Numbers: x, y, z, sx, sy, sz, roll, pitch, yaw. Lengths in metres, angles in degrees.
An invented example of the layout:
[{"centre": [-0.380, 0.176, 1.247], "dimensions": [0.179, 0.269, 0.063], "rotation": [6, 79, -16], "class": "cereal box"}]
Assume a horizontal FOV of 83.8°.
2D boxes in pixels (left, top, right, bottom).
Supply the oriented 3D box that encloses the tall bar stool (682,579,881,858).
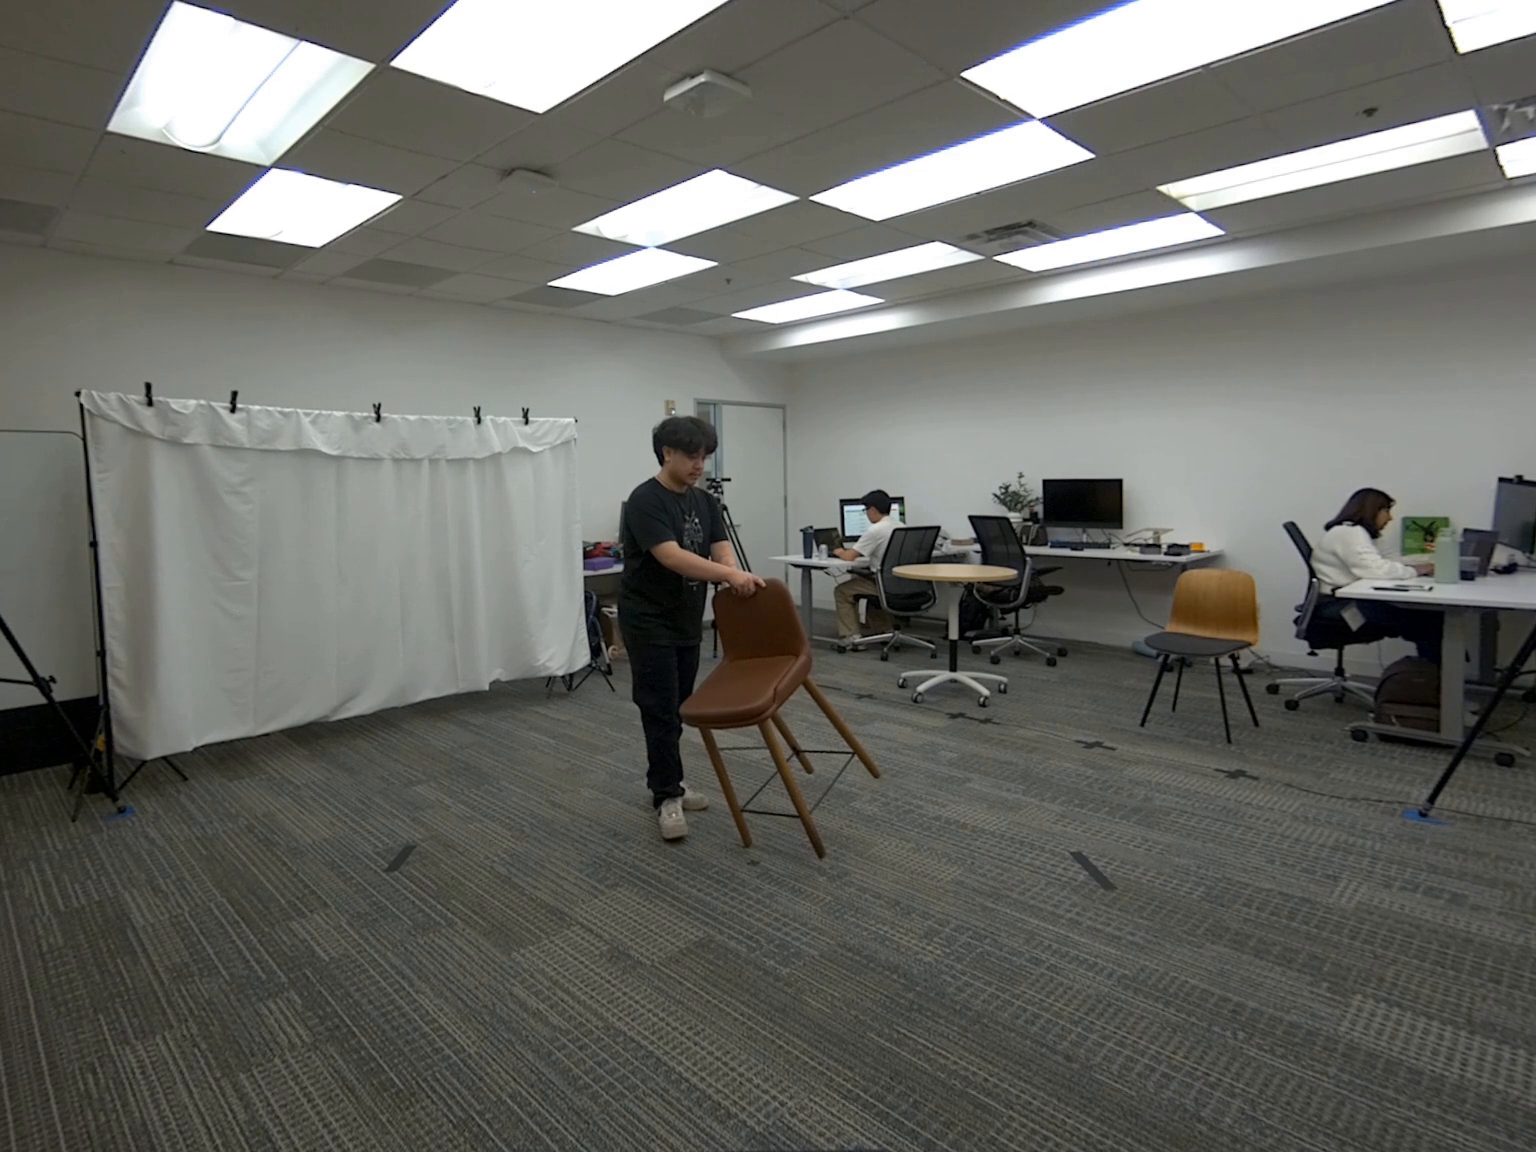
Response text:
[{"centre": [-0.003, 0.514, 3.157], "dimensions": [0.467, 0.877, 0.464], "rotation": [-12, 17, 47], "class": "tall bar stool"}]
